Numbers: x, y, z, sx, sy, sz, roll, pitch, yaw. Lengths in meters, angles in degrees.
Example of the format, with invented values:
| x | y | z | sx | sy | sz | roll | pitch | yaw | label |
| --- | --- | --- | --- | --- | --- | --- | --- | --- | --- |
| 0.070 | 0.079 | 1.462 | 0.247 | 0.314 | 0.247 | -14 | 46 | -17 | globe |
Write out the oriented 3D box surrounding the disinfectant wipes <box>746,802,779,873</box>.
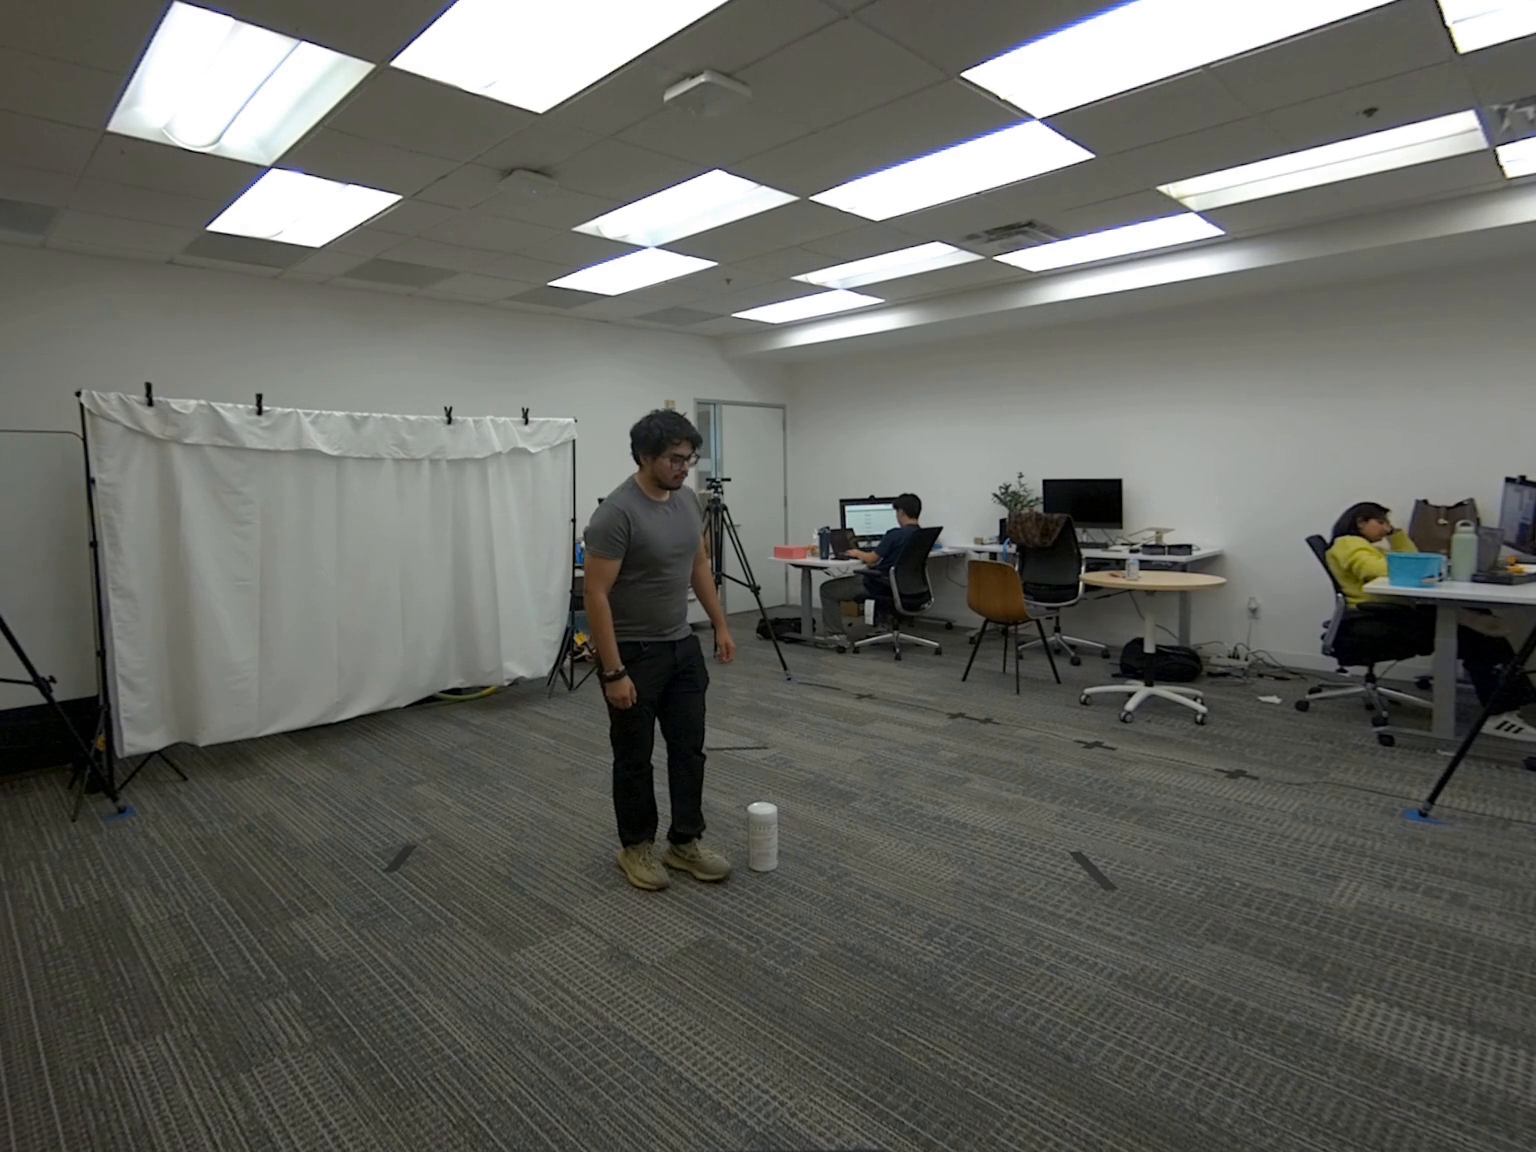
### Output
| x | y | z | sx | sy | sz | roll | pitch | yaw | label |
| --- | --- | --- | --- | --- | --- | --- | --- | --- | --- |
| -0.016 | 0.938 | 3.073 | 0.118 | 0.217 | 0.118 | -1 | 4 | -2 | disinfectant wipes |
